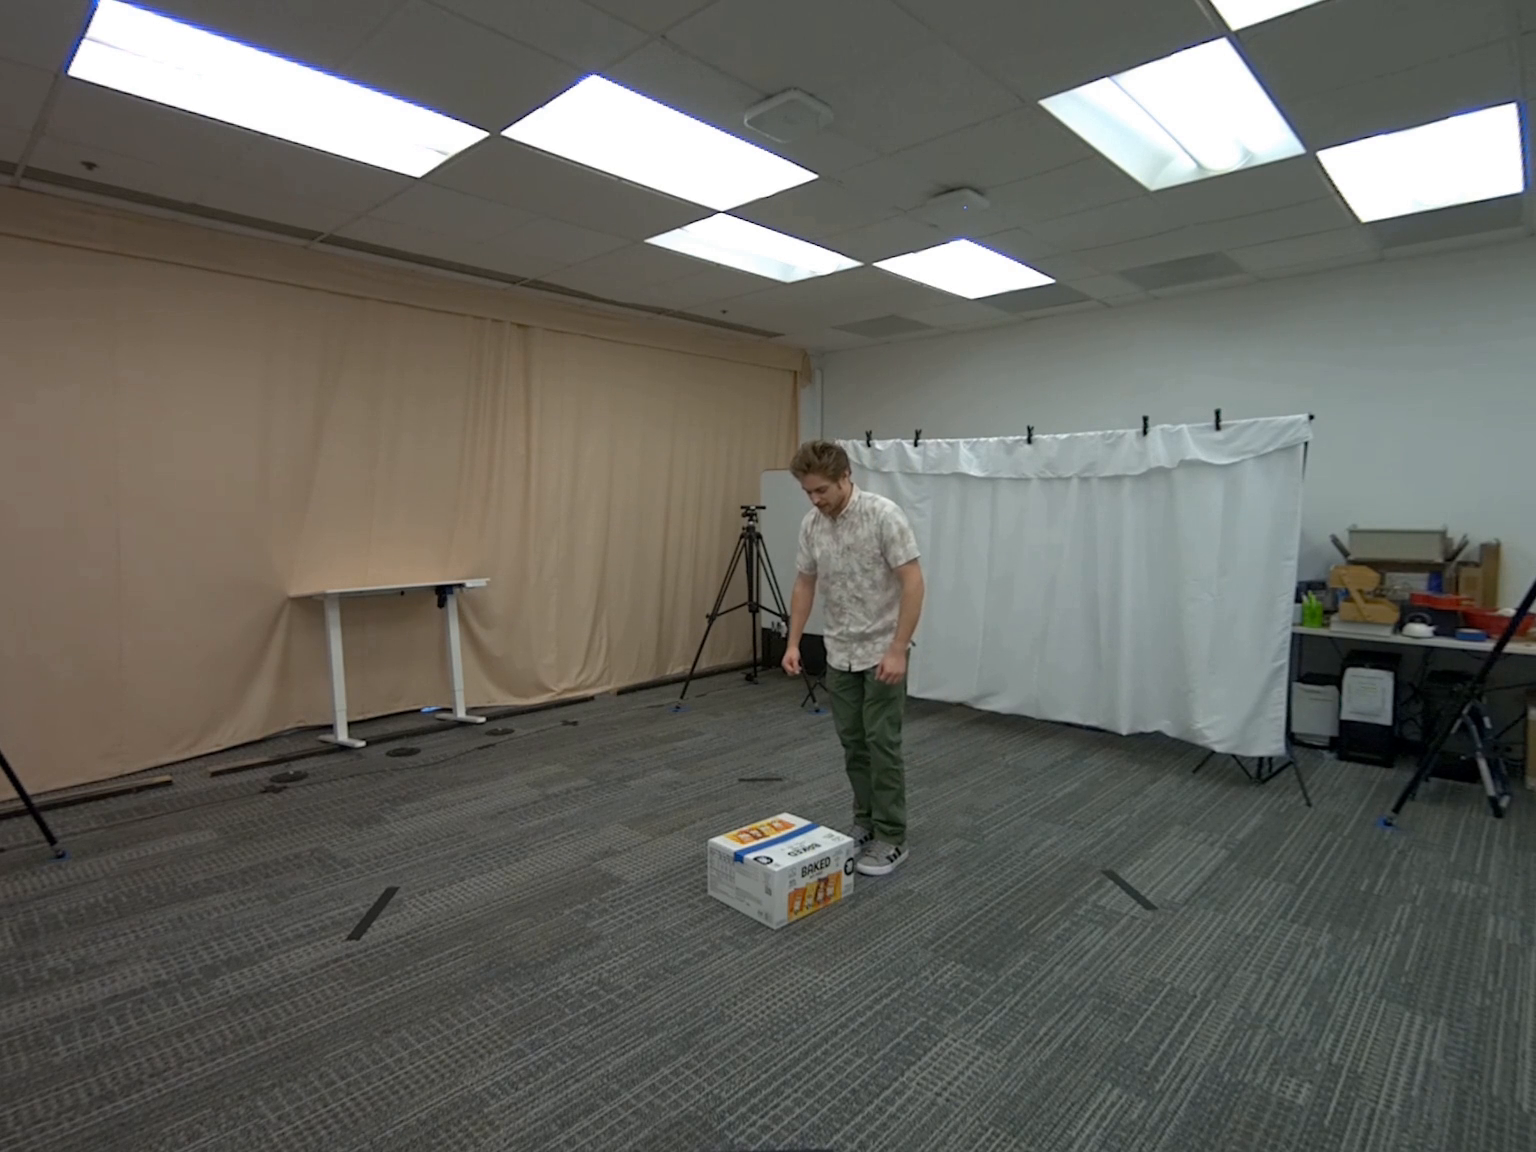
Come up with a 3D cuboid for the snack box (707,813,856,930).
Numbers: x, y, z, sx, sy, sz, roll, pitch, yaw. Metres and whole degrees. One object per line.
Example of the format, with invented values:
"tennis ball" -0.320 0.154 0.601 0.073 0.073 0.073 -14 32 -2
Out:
"snack box" 0.049 1.041 3.004 0.393 0.205 0.352 -4 6 -43
